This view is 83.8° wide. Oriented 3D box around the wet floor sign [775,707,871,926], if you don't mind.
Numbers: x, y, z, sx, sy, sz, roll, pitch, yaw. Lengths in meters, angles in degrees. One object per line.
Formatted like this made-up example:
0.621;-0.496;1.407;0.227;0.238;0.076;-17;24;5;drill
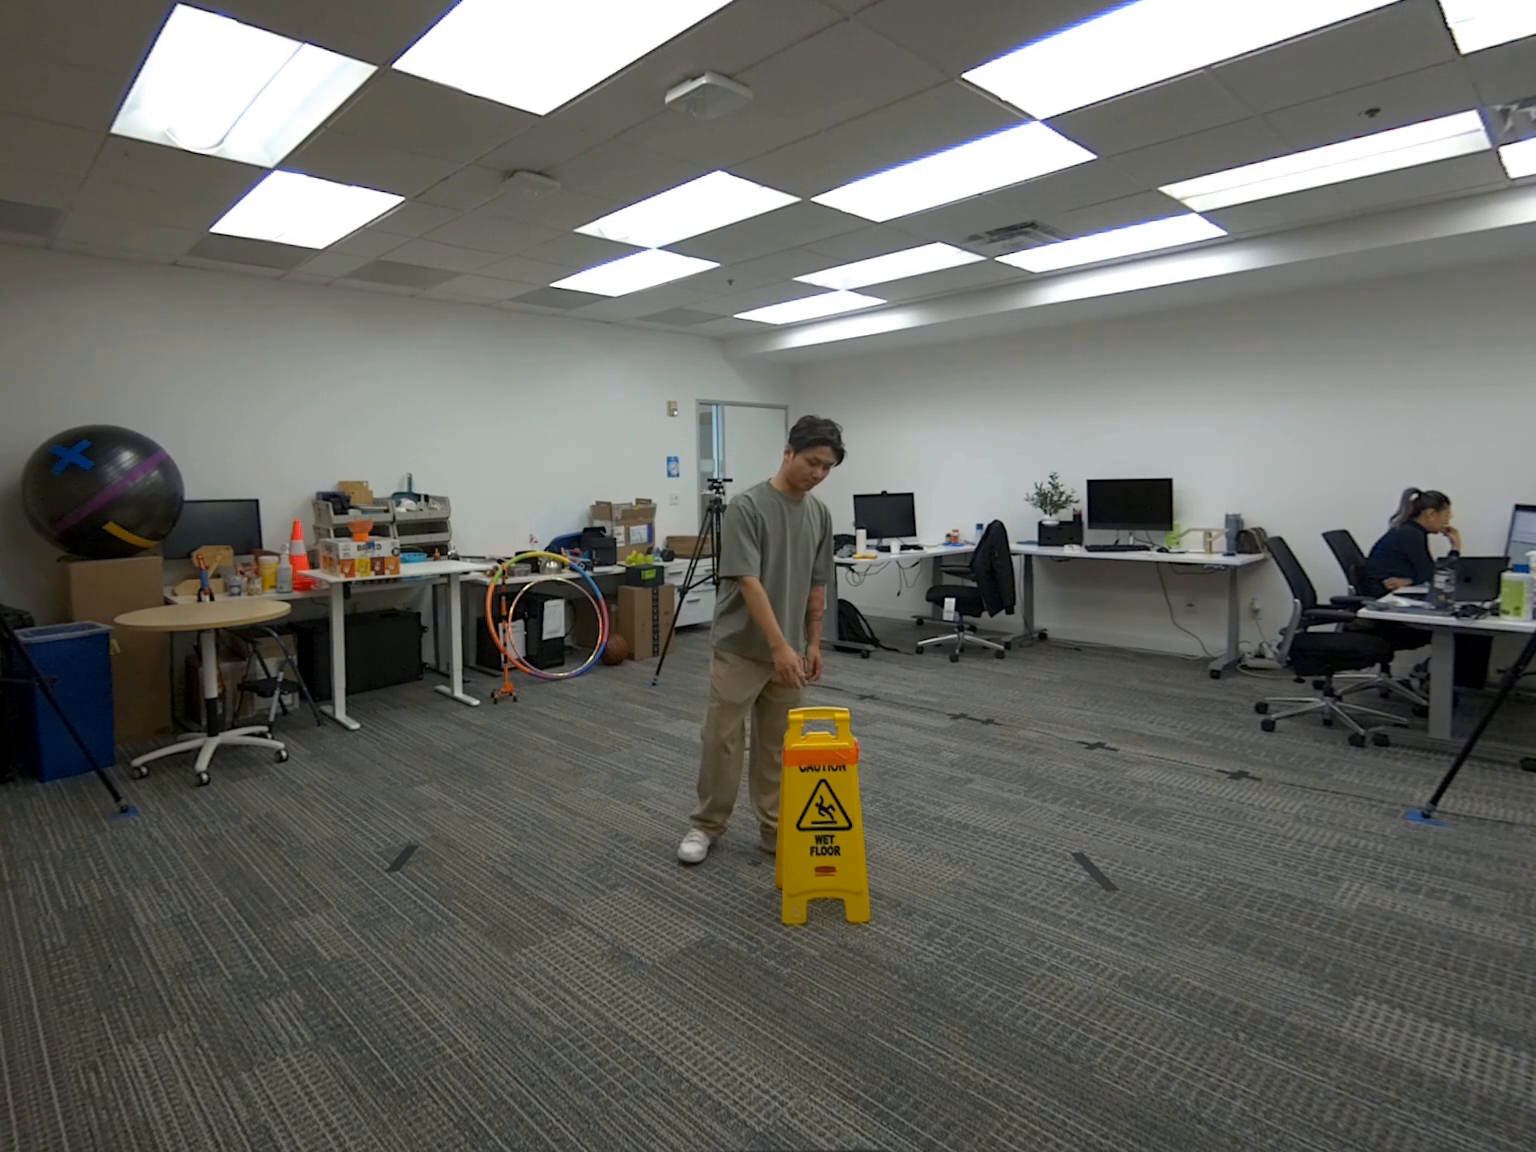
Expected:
0.168;0.756;2.784;0.282;0.643;0.292;-2;5;-3;wet floor sign
